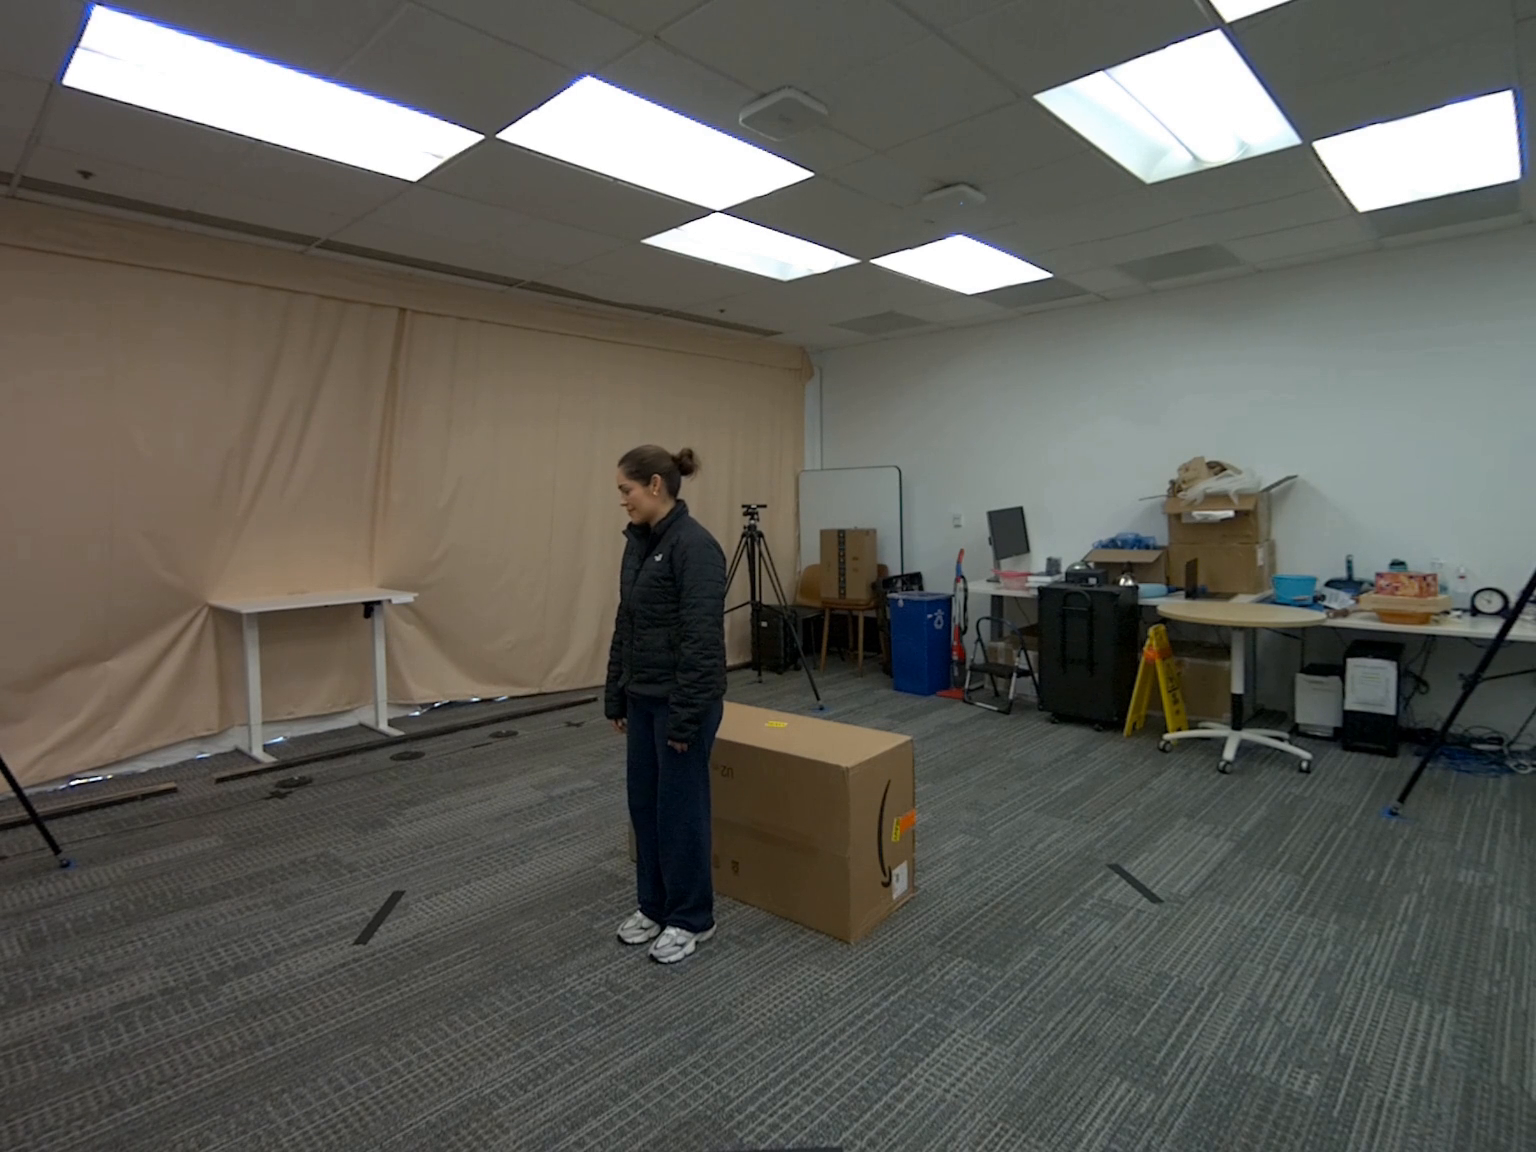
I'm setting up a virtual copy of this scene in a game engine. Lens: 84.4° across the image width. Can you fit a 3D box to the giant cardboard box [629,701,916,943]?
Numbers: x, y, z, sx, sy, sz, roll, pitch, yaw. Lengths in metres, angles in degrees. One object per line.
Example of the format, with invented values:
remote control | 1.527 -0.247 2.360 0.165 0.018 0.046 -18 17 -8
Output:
giant cardboard box | -0.003 0.841 3.137 1.059 0.576 0.414 3 6 40
